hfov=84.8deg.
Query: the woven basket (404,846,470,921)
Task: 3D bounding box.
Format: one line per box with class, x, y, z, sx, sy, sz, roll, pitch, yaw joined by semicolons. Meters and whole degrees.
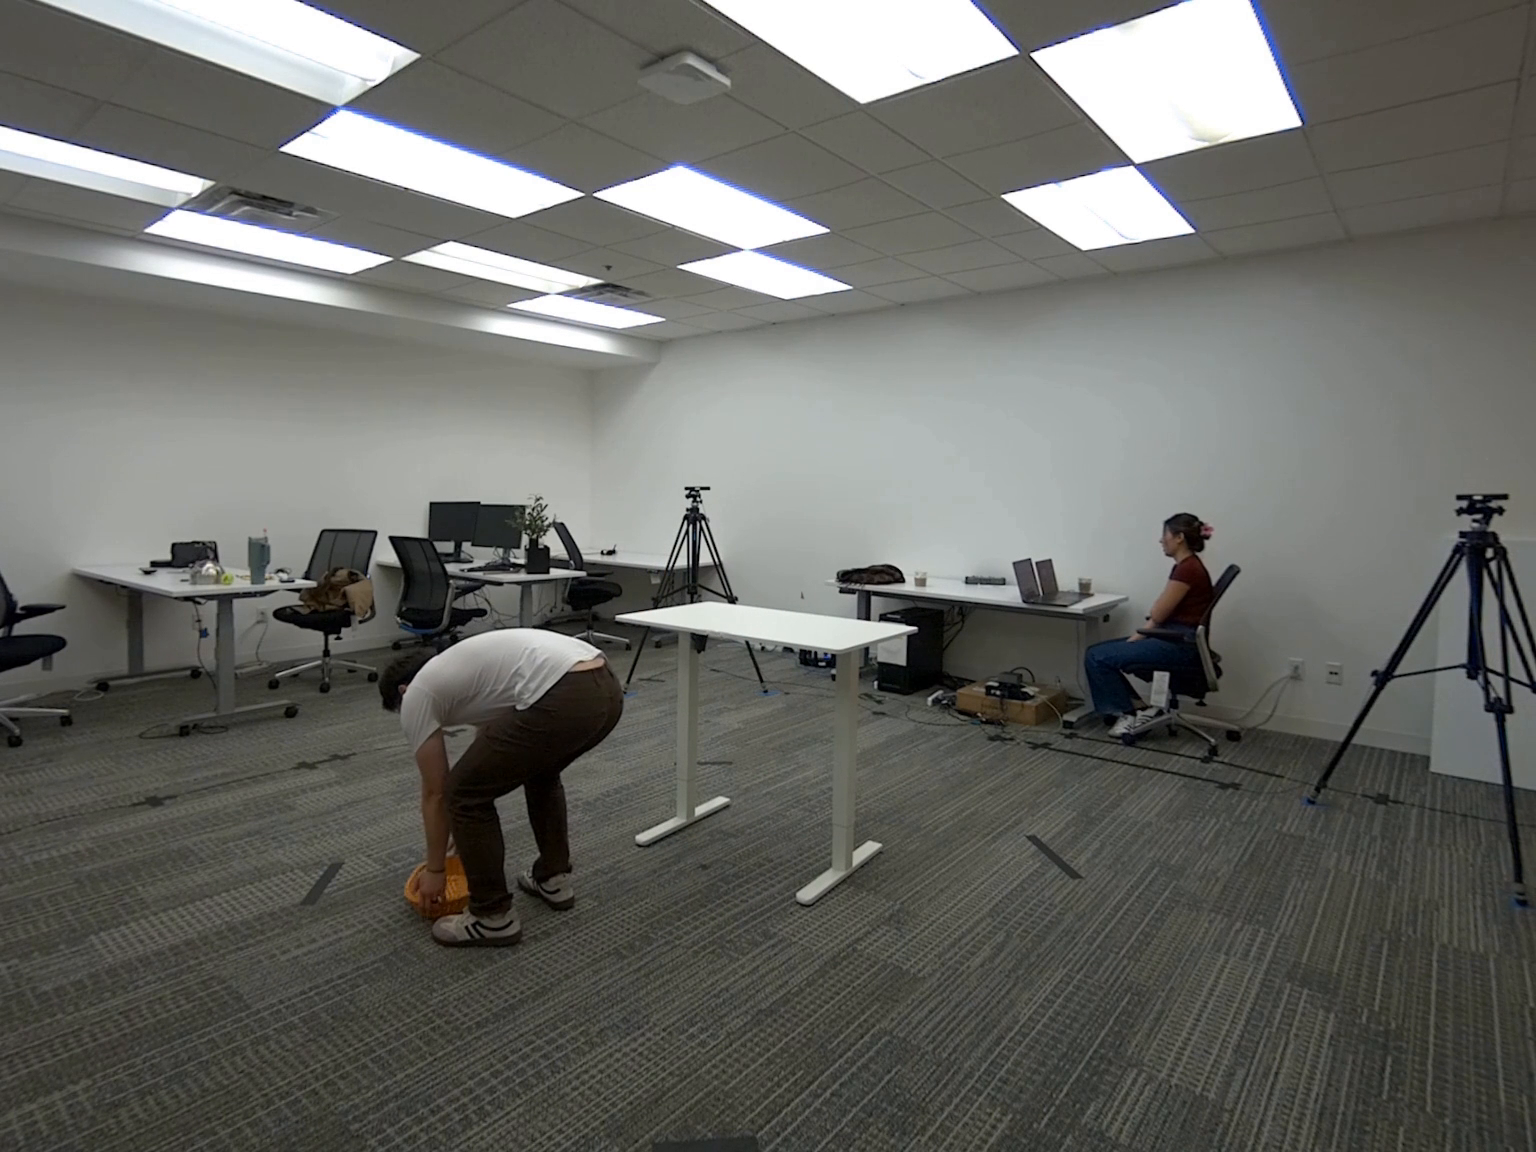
woven basket;-1.087;1.038;2.856;0.250;0.073;0.355;-1;6;-8
